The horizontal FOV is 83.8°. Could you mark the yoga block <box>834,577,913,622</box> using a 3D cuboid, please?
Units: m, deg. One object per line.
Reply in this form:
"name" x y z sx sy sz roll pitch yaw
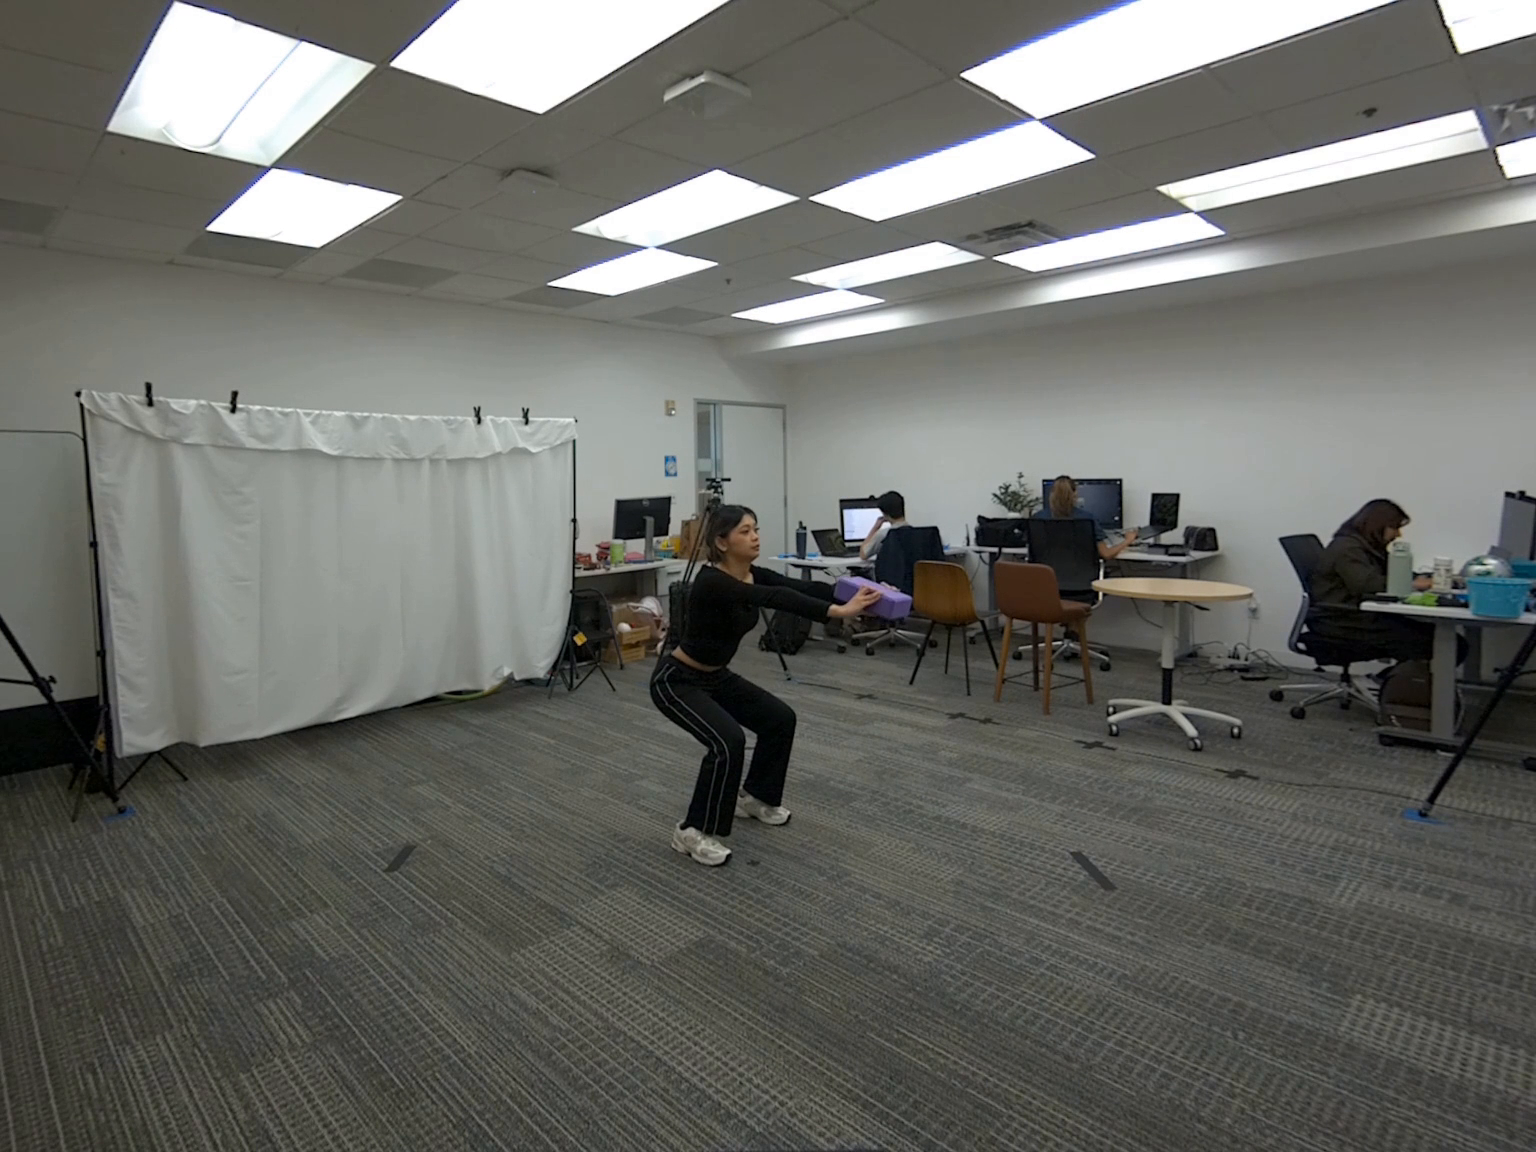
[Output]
"yoga block" 0.373 0.064 2.969 0.237 0.076 0.145 19 13 33
